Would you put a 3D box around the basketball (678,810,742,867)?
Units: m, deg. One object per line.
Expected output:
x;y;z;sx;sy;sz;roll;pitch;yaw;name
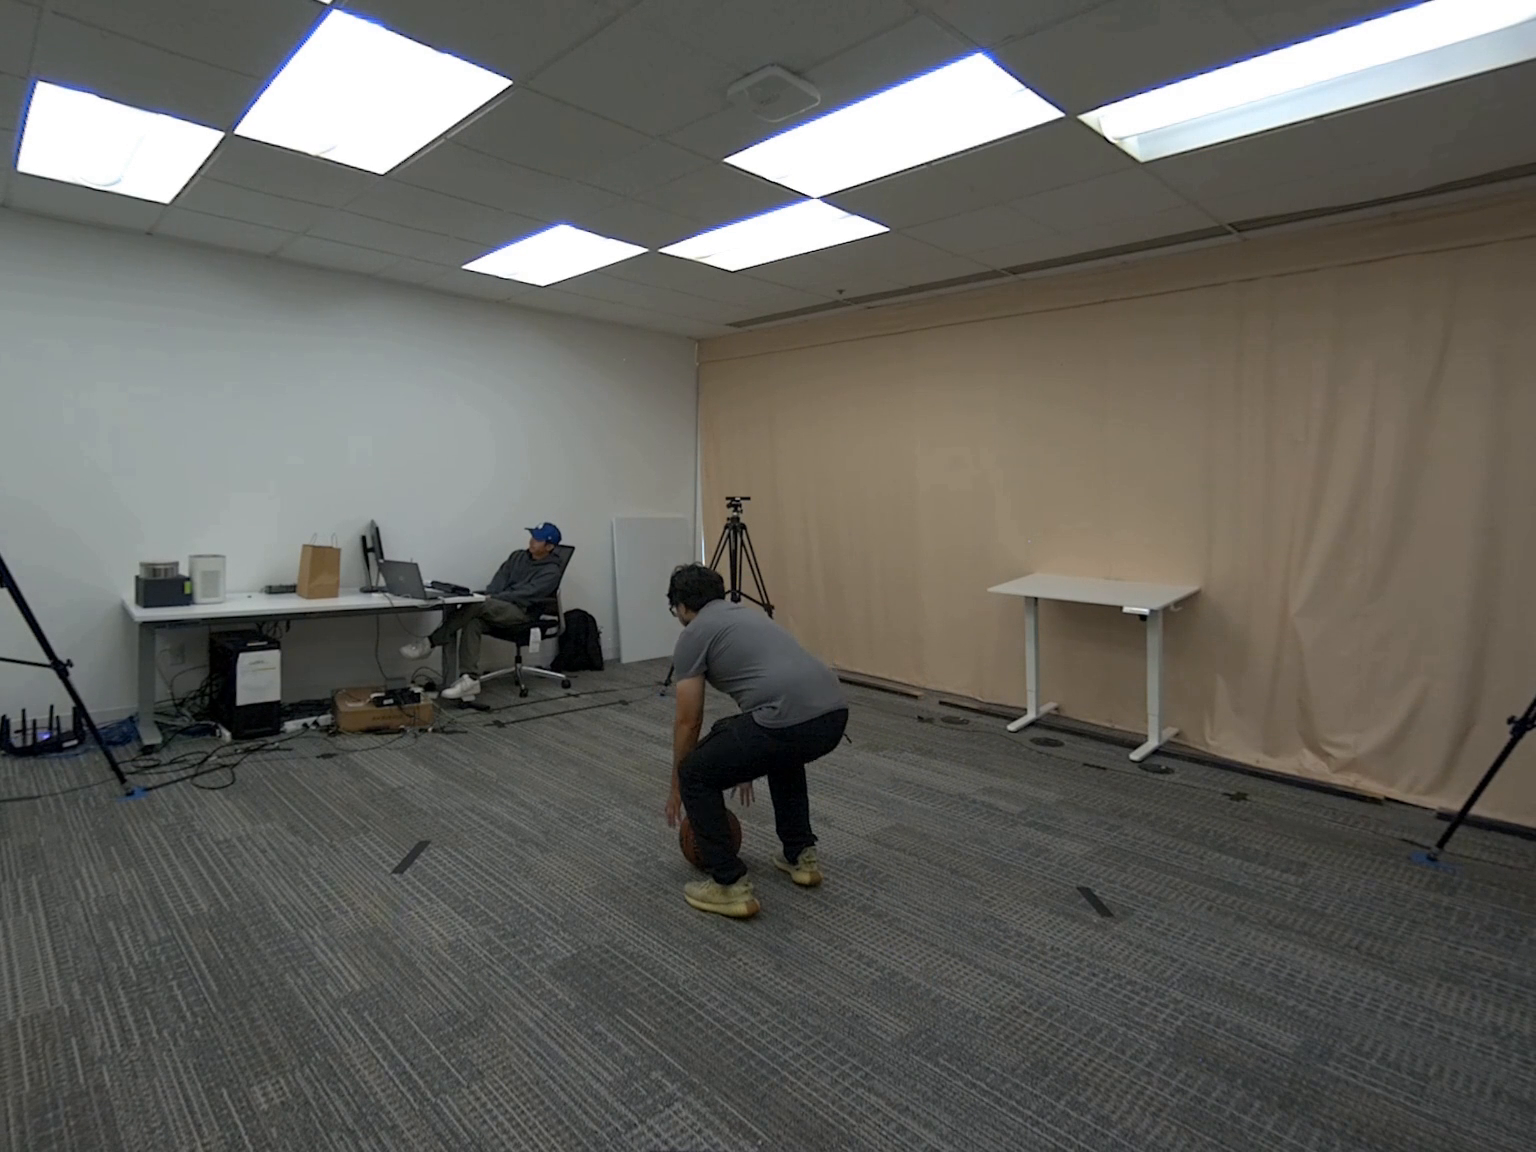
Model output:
-0.219;0.979;3.166;0.236;0.235;0.237;1;4;-1;basketball
